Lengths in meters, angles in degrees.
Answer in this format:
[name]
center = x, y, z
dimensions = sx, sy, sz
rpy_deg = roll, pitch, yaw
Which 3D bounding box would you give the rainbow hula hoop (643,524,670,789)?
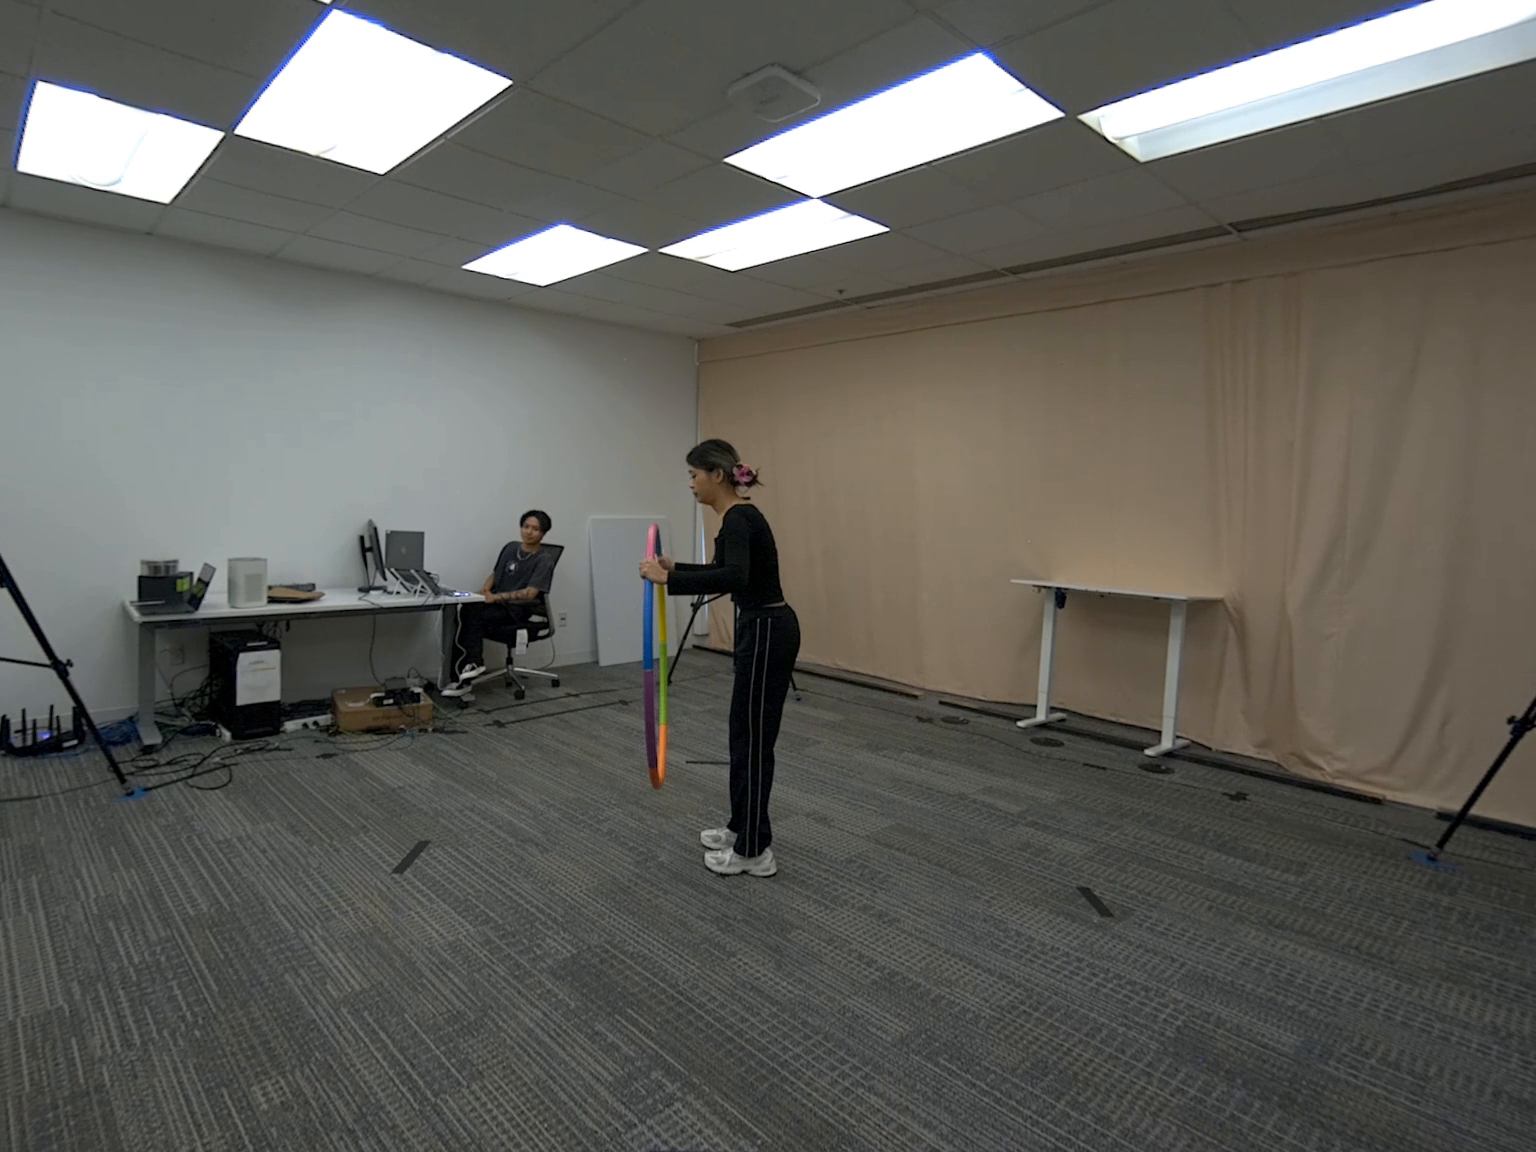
[rainbow hula hoop]
center = -0.439, 0.303, 3.209
dimensions = 0.035, 0.976, 0.984
rpy_deg = -2, 4, -5
